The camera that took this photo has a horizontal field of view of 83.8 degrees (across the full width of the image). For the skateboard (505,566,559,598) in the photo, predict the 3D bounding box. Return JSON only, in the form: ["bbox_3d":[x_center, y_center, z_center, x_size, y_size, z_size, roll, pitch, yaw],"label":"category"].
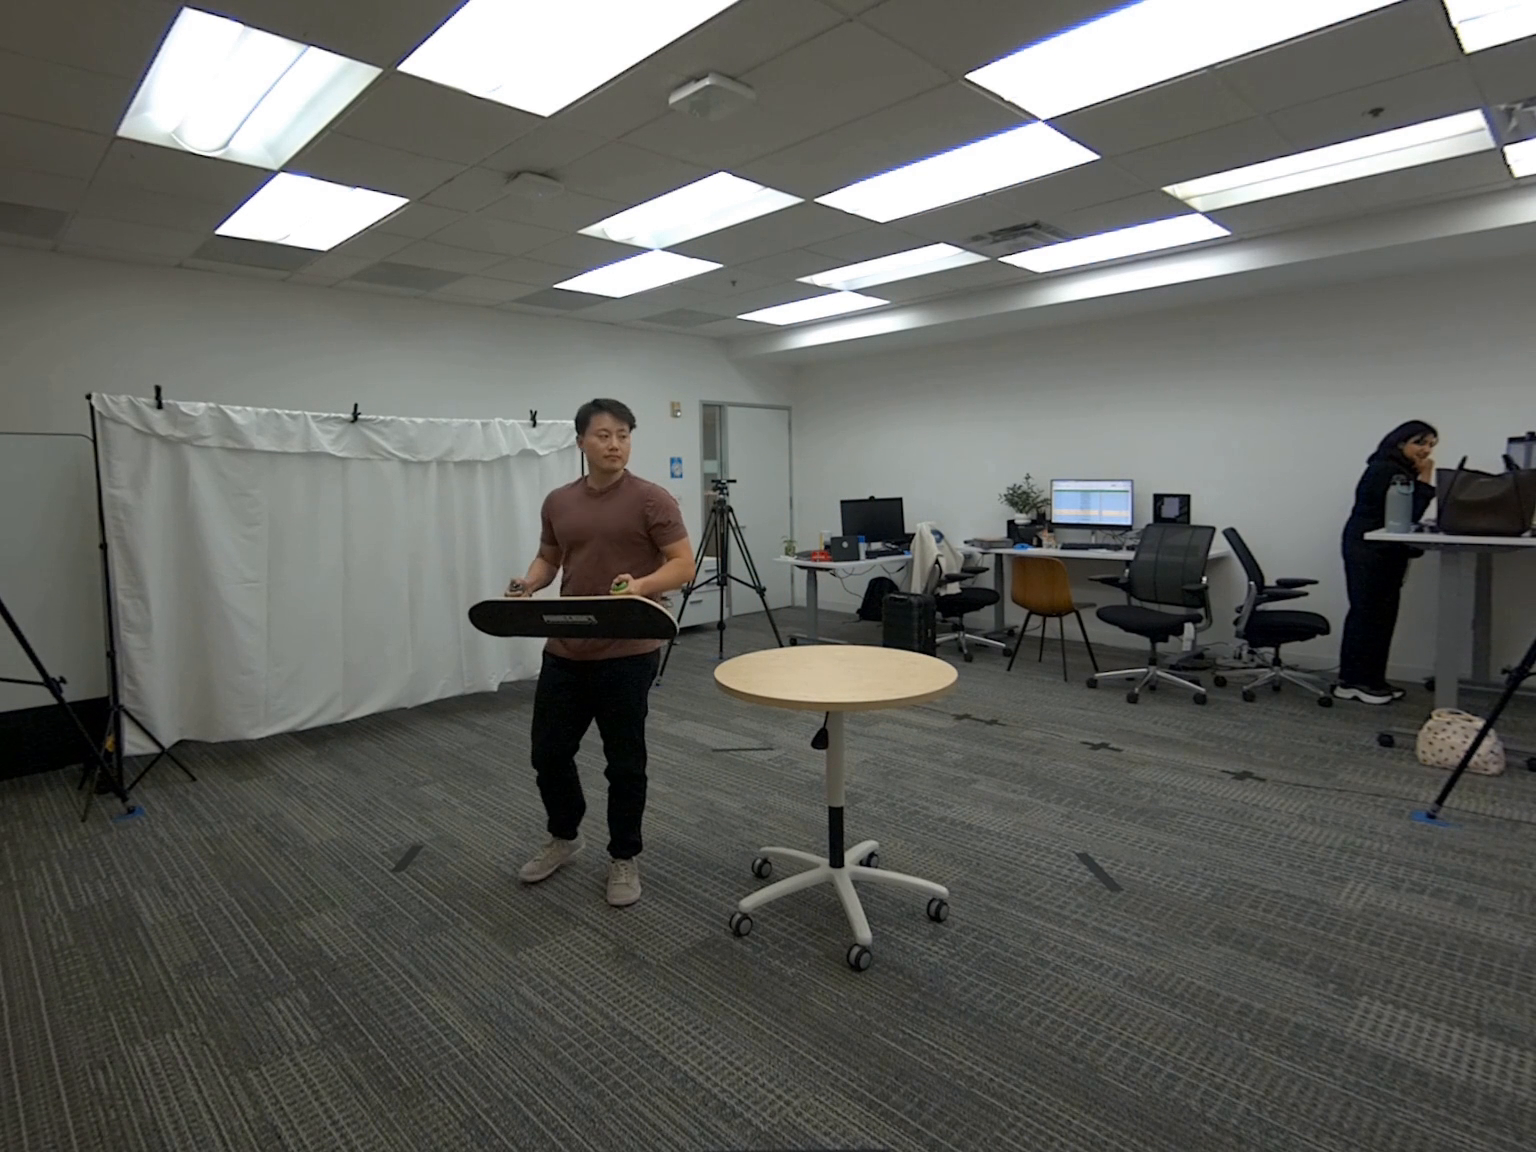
[{"bbox_3d":[-0.636,0.105,2.737,0.802,0.112,0.186,-1,-42,23],"label":"skateboard"}]
